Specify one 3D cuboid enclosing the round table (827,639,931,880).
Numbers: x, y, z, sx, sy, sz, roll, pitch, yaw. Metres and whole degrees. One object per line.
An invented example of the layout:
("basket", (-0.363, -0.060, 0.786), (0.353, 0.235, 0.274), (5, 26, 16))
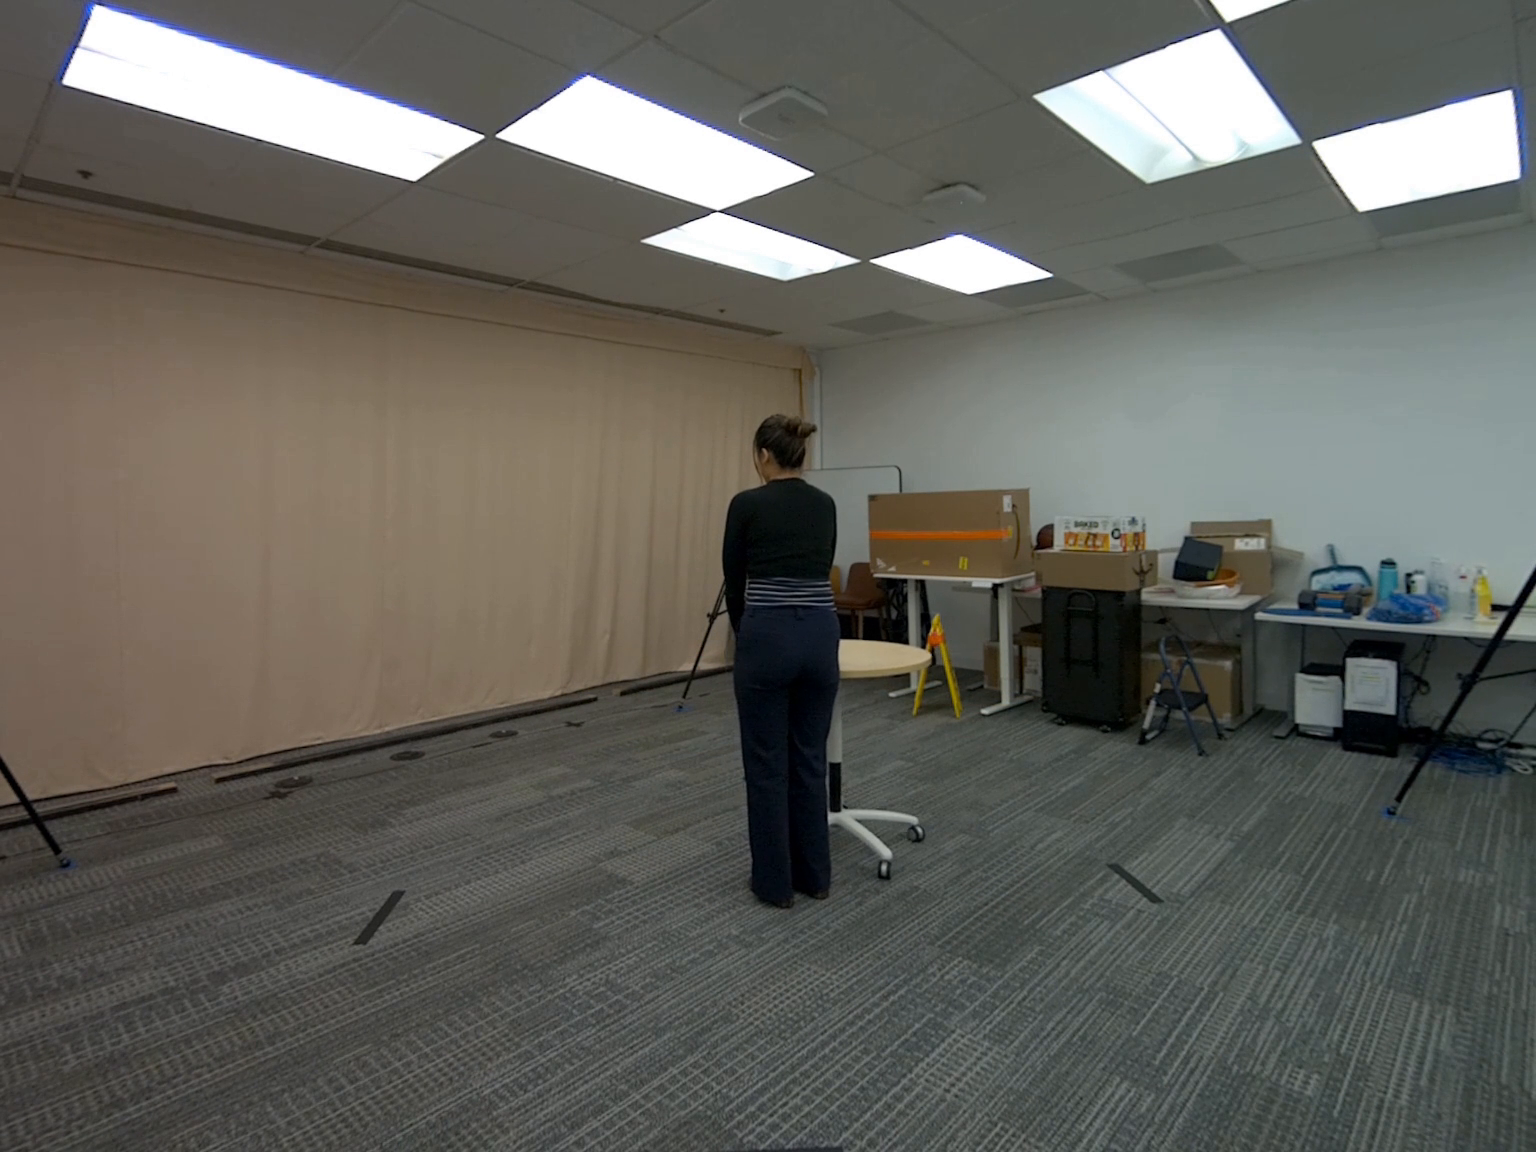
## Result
("round table", (0.279, 0.708, 3.414), (0.763, 0.792, 0.766), (-1, 3, -2))
